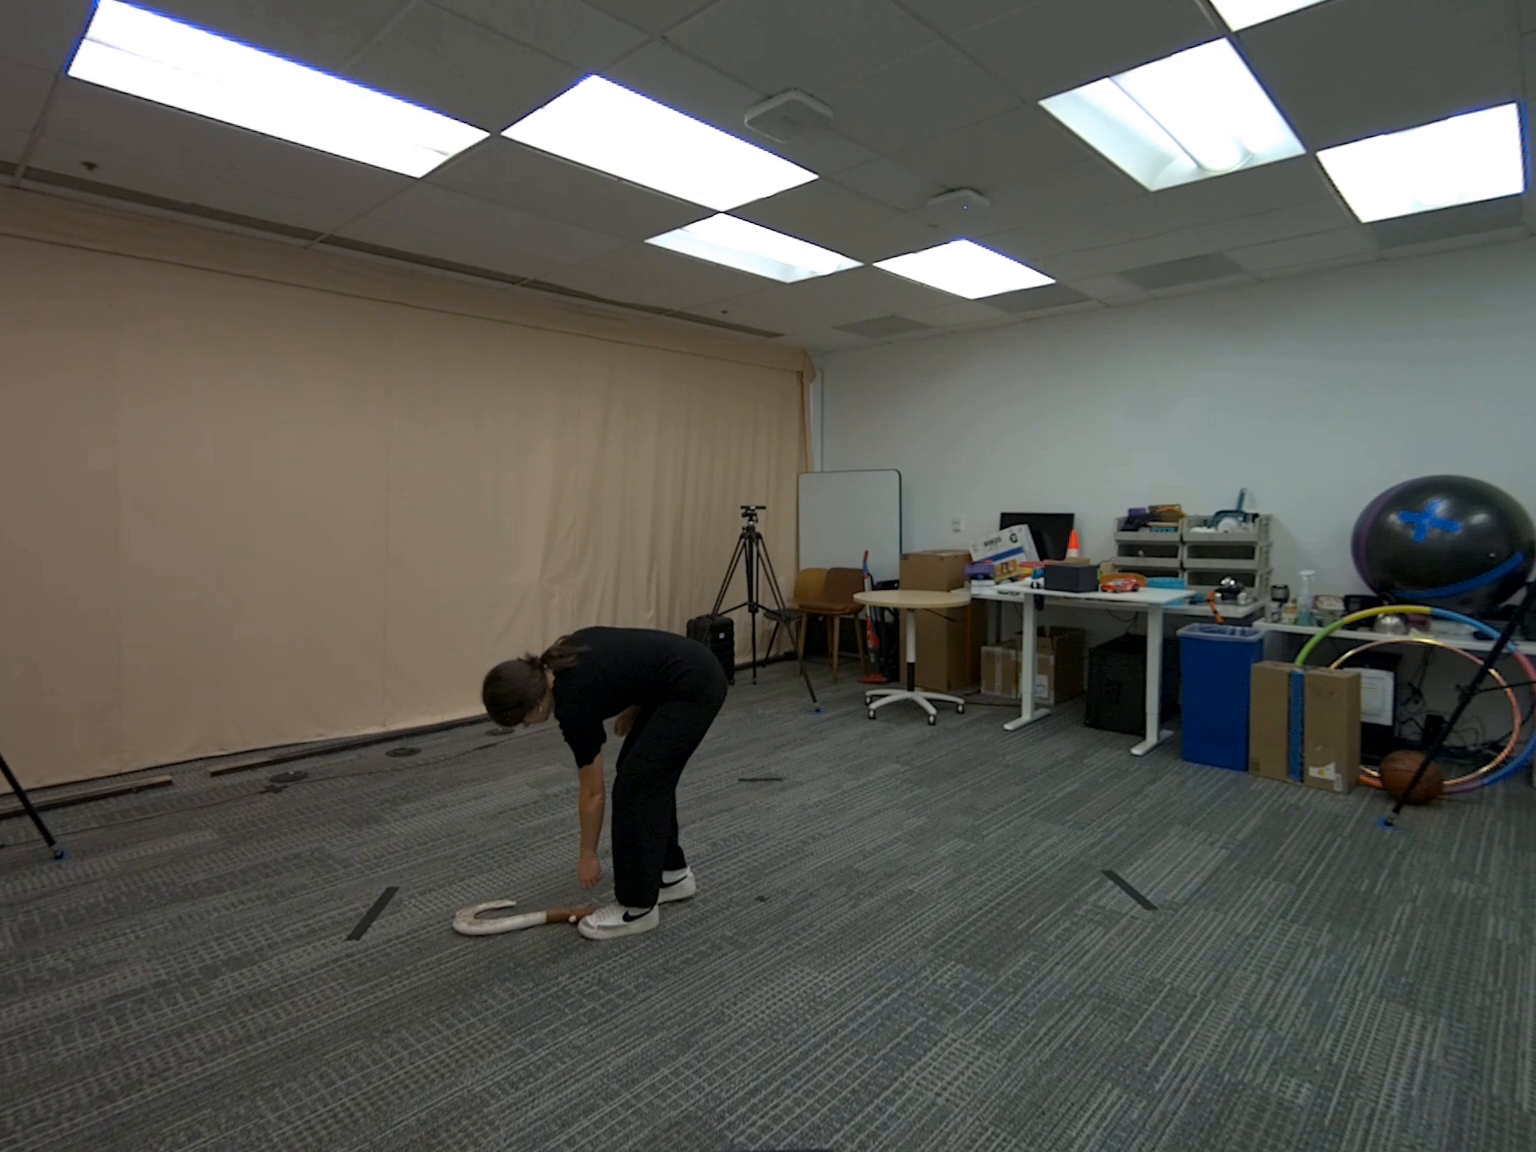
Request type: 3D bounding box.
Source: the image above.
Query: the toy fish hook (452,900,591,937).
[{"bbox_3d":[-0.804,1.140,2.854,0.502,0.048,0.227,-1,7,-8],"label":"toy fish hook"}]
